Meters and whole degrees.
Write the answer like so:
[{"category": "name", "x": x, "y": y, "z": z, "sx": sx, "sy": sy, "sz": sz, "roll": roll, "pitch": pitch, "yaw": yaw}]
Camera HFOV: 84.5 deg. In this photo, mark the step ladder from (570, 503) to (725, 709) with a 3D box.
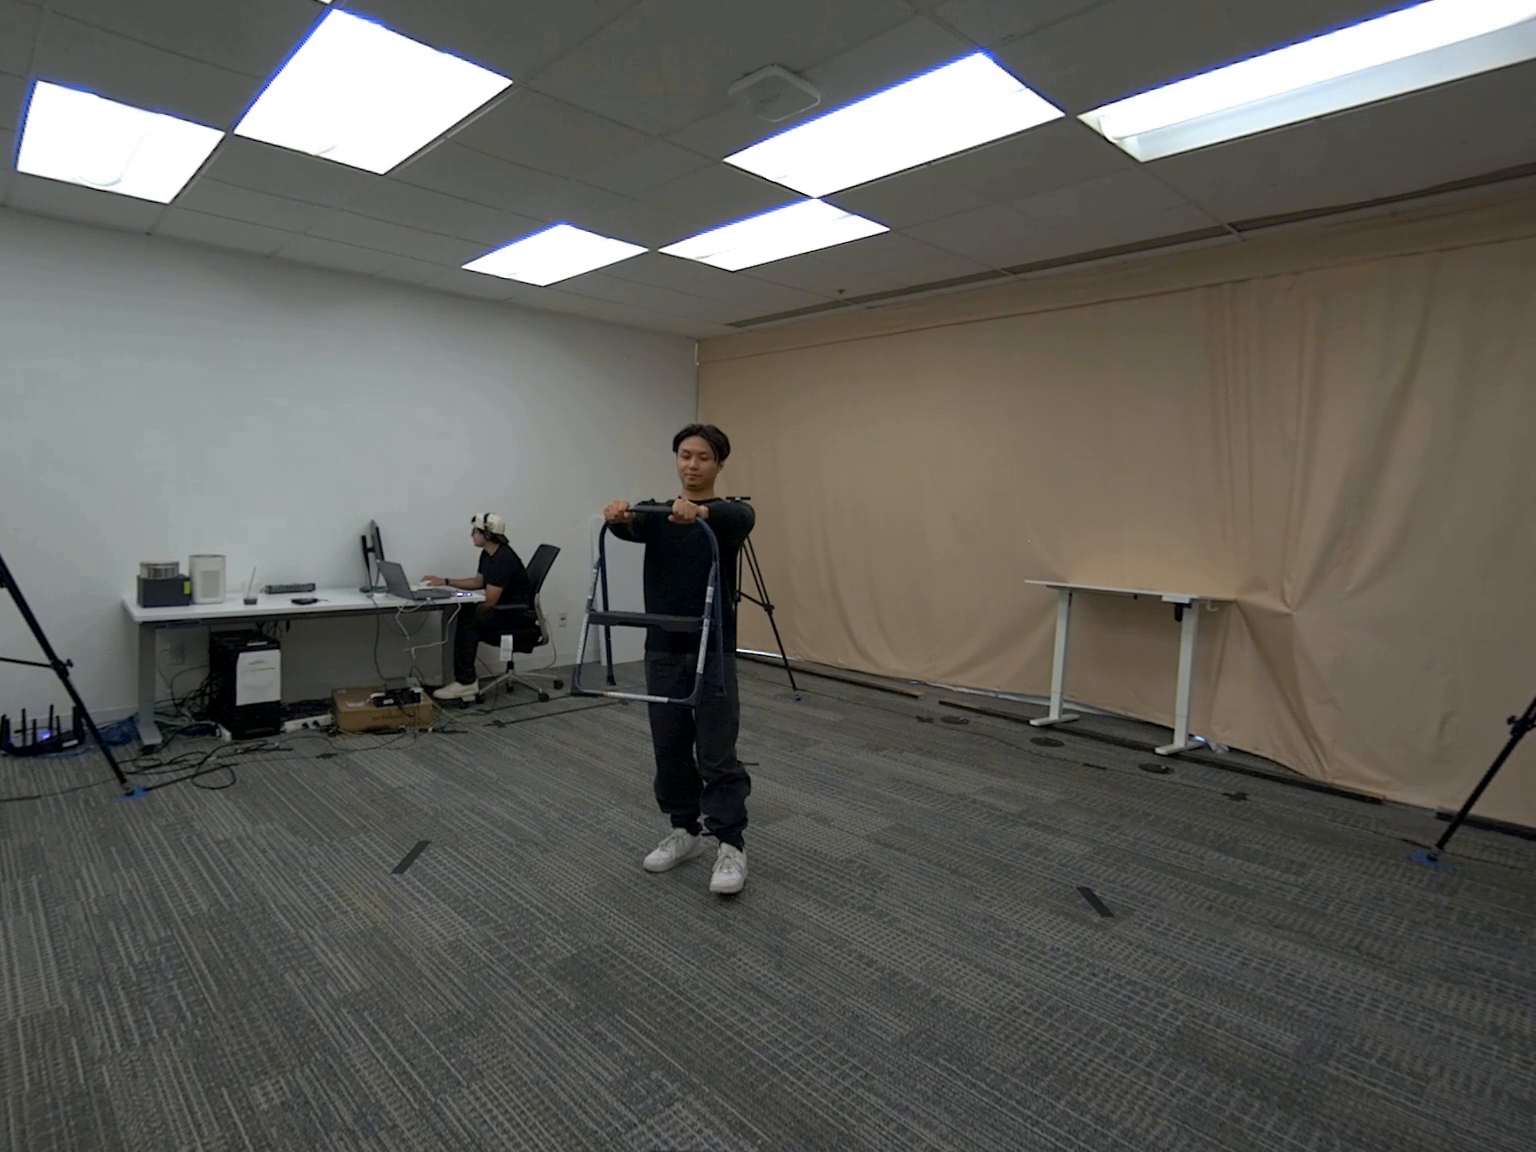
[{"category": "step ladder", "x": -0.364, "y": 0.091, "z": 2.723, "sx": 0.435, "sy": 0.606, "sz": 0.345, "roll": 3, "pitch": -1, "yaw": 12}]
